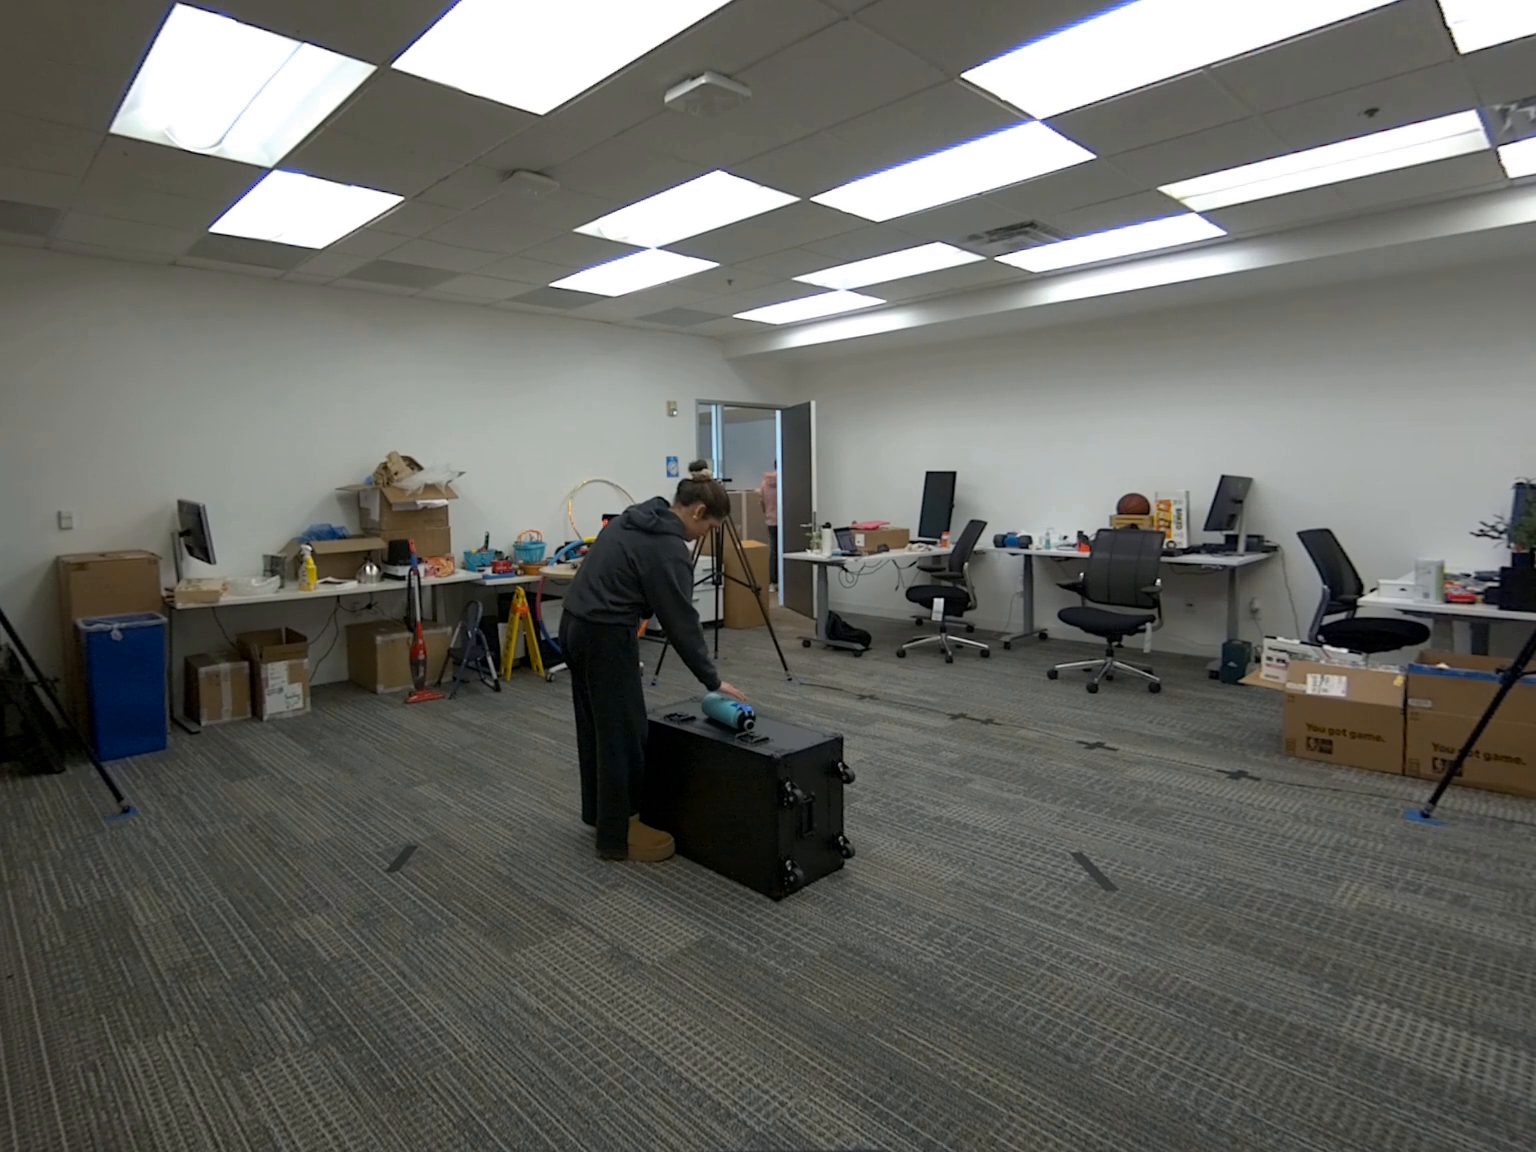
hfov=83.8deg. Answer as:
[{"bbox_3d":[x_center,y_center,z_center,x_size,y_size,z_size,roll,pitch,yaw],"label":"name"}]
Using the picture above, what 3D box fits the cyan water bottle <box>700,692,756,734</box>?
[{"bbox_3d":[-0.140,0.504,3.165,0.090,0.092,0.291,-3,6,-33],"label":"cyan water bottle"}]
